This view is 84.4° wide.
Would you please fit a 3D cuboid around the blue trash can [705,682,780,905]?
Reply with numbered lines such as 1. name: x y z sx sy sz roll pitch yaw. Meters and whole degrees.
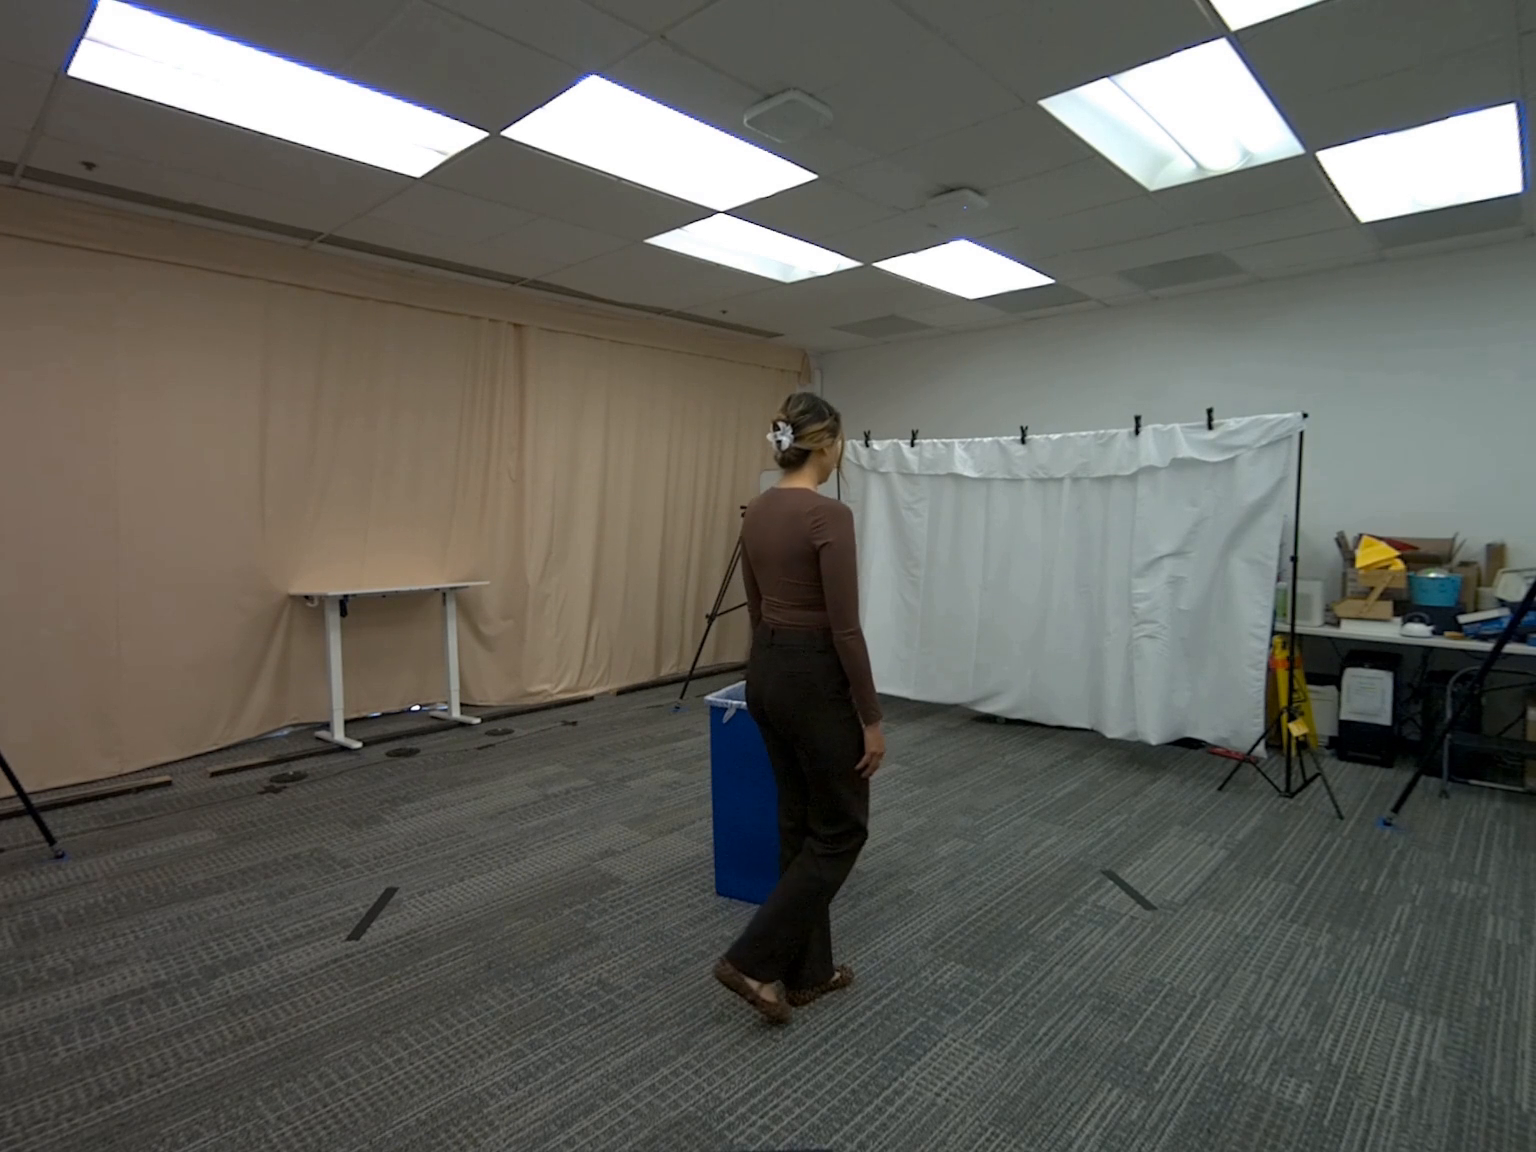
1. blue trash can: 0.009 0.777 3.069 0.388 0.712 0.365 2 4 26
